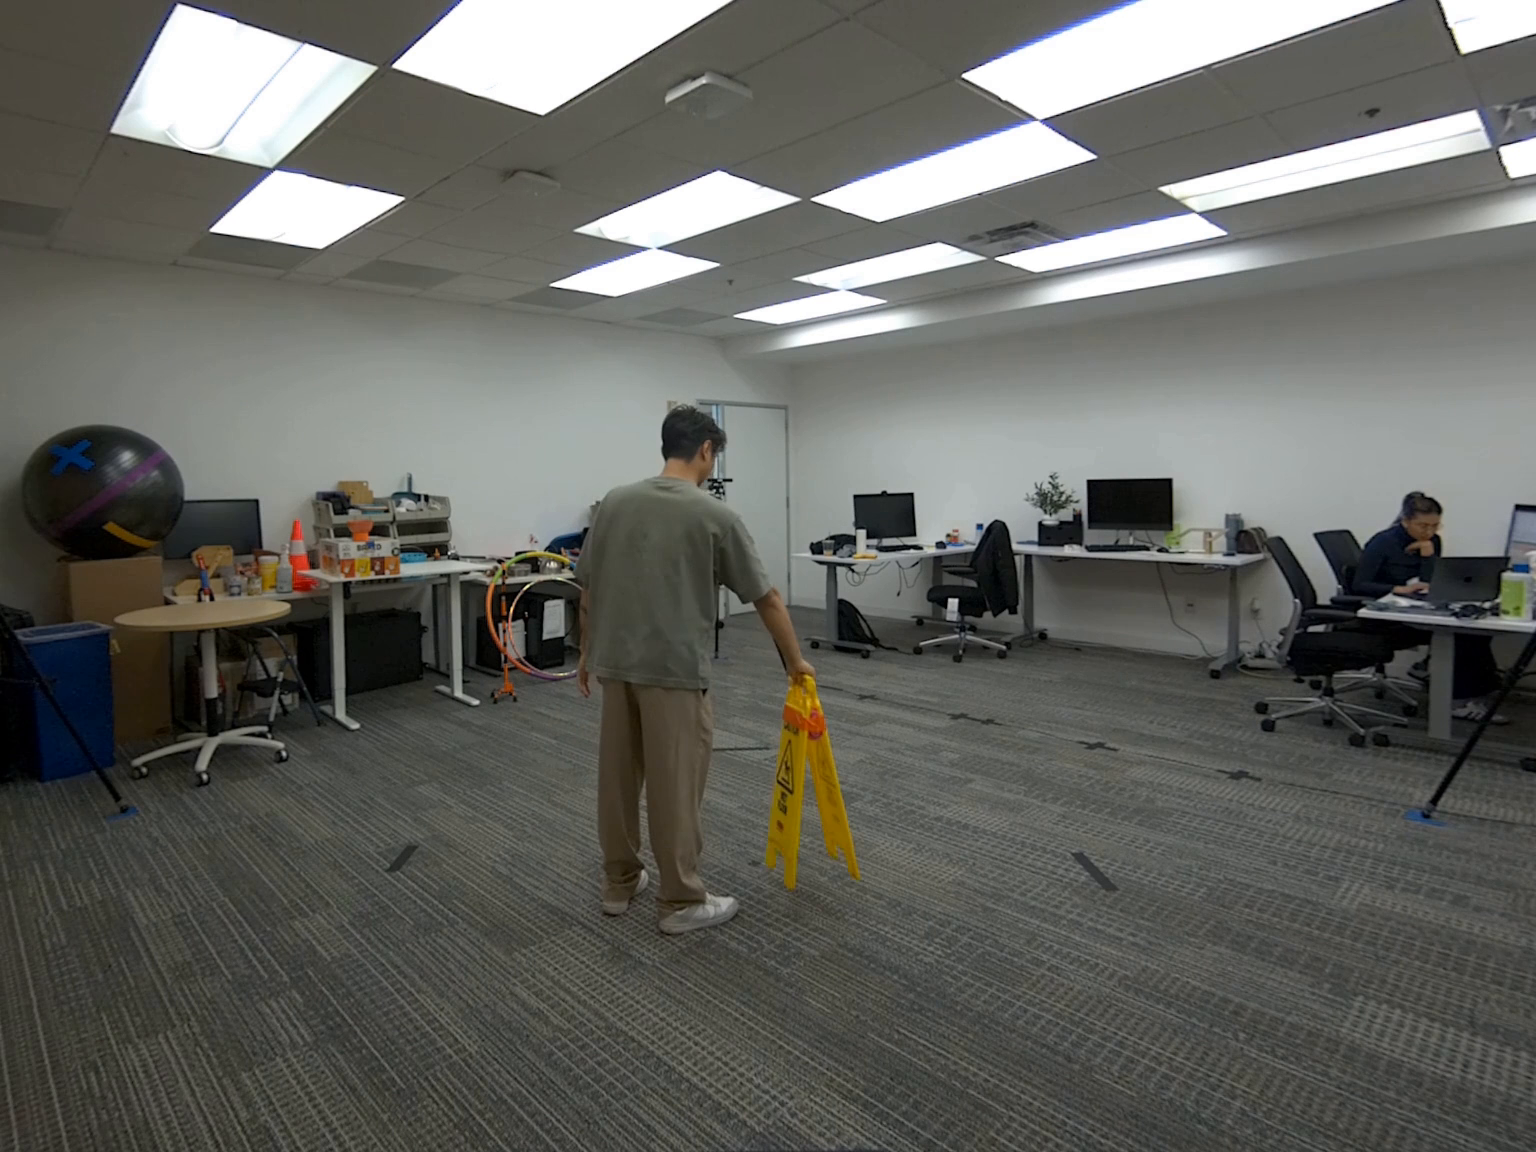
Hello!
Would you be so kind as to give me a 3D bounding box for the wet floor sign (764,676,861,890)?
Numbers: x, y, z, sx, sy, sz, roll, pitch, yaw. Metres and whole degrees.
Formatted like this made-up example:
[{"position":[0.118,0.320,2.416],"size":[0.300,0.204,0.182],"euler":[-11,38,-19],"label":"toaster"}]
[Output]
[{"position":[0.131,0.637,2.831],"size":[0.286,0.646,0.286],"euler":[-1,0,-14],"label":"wet floor sign"}]
